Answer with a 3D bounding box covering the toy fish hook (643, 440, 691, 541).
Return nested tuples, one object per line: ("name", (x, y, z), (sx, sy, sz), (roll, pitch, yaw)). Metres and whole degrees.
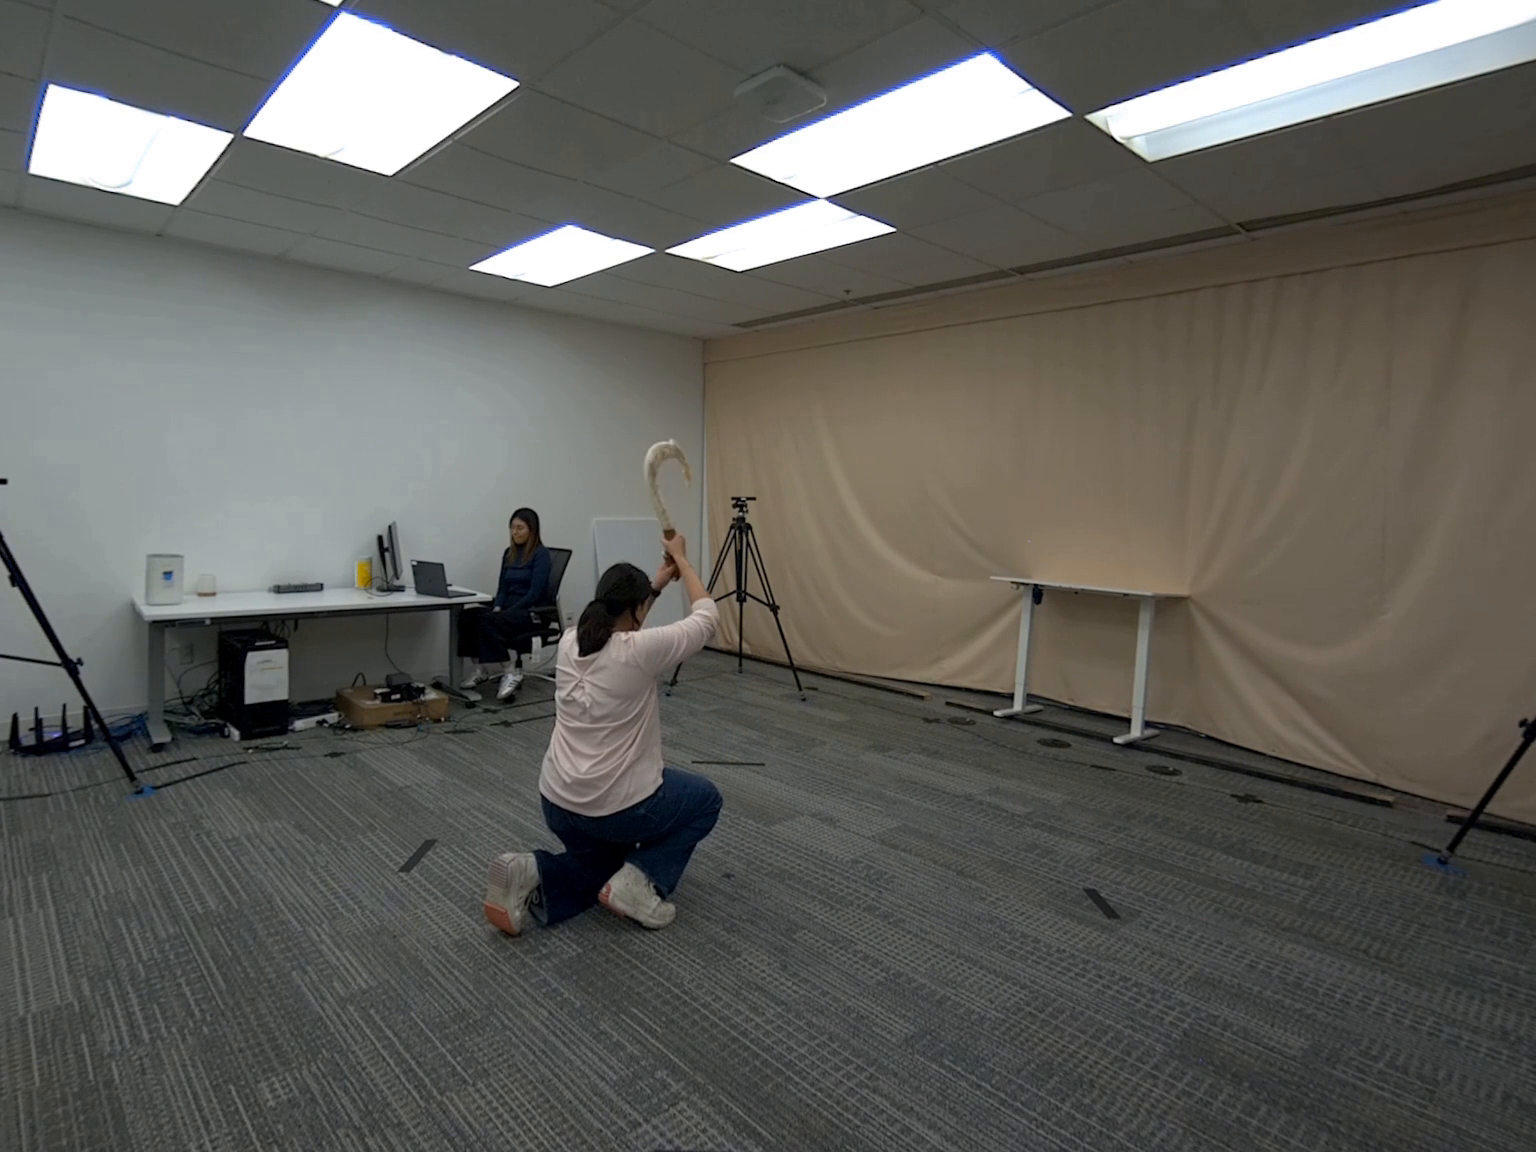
("toy fish hook", (-0.350, -0.227, 3.058), (0.049, 0.500, 0.221), (9, 21, 42))
